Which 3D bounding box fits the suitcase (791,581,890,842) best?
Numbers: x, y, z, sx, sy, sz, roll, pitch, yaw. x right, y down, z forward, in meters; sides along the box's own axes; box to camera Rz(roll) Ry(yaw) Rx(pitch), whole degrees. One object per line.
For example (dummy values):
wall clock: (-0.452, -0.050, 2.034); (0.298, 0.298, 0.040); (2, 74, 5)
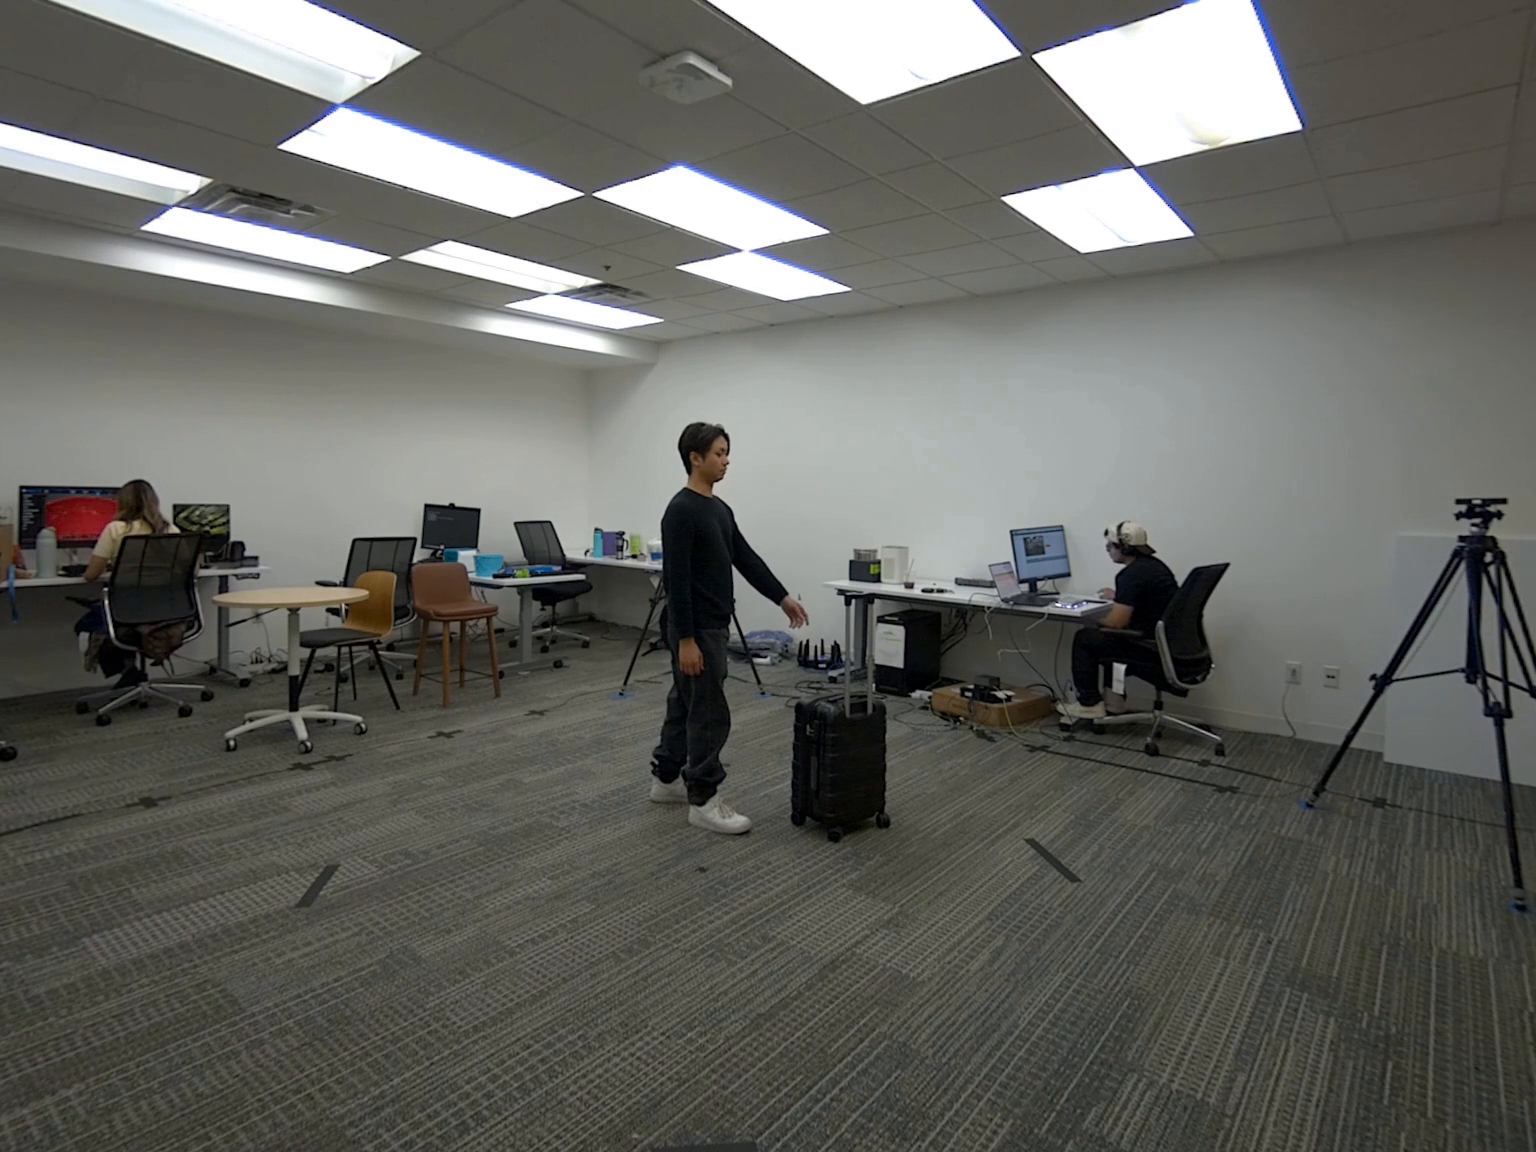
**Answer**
suitcase: (0.292, 0.559, 3.551); (0.373, 0.978, 0.265); (-1, 0, -36)
